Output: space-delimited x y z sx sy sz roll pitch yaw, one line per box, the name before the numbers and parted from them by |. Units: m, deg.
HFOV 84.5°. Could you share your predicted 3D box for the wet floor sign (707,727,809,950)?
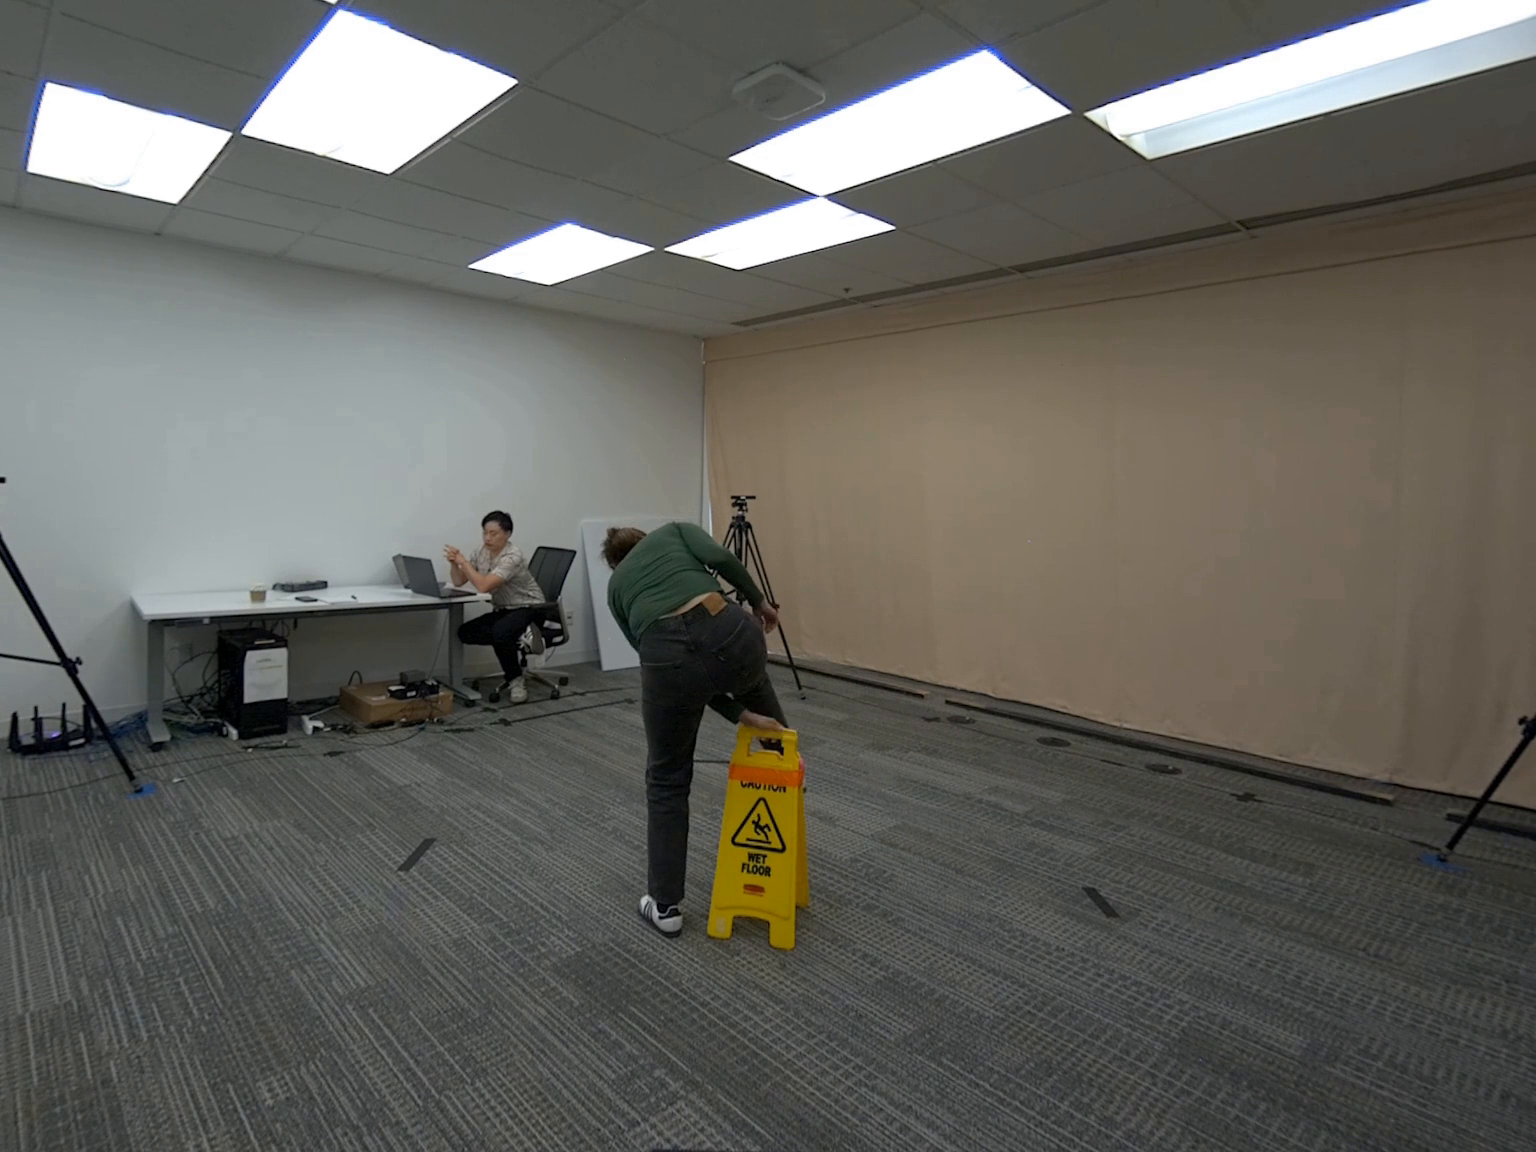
wet floor sign | -0.017 0.817 2.757 0.285 0.644 0.287 2 3 12
